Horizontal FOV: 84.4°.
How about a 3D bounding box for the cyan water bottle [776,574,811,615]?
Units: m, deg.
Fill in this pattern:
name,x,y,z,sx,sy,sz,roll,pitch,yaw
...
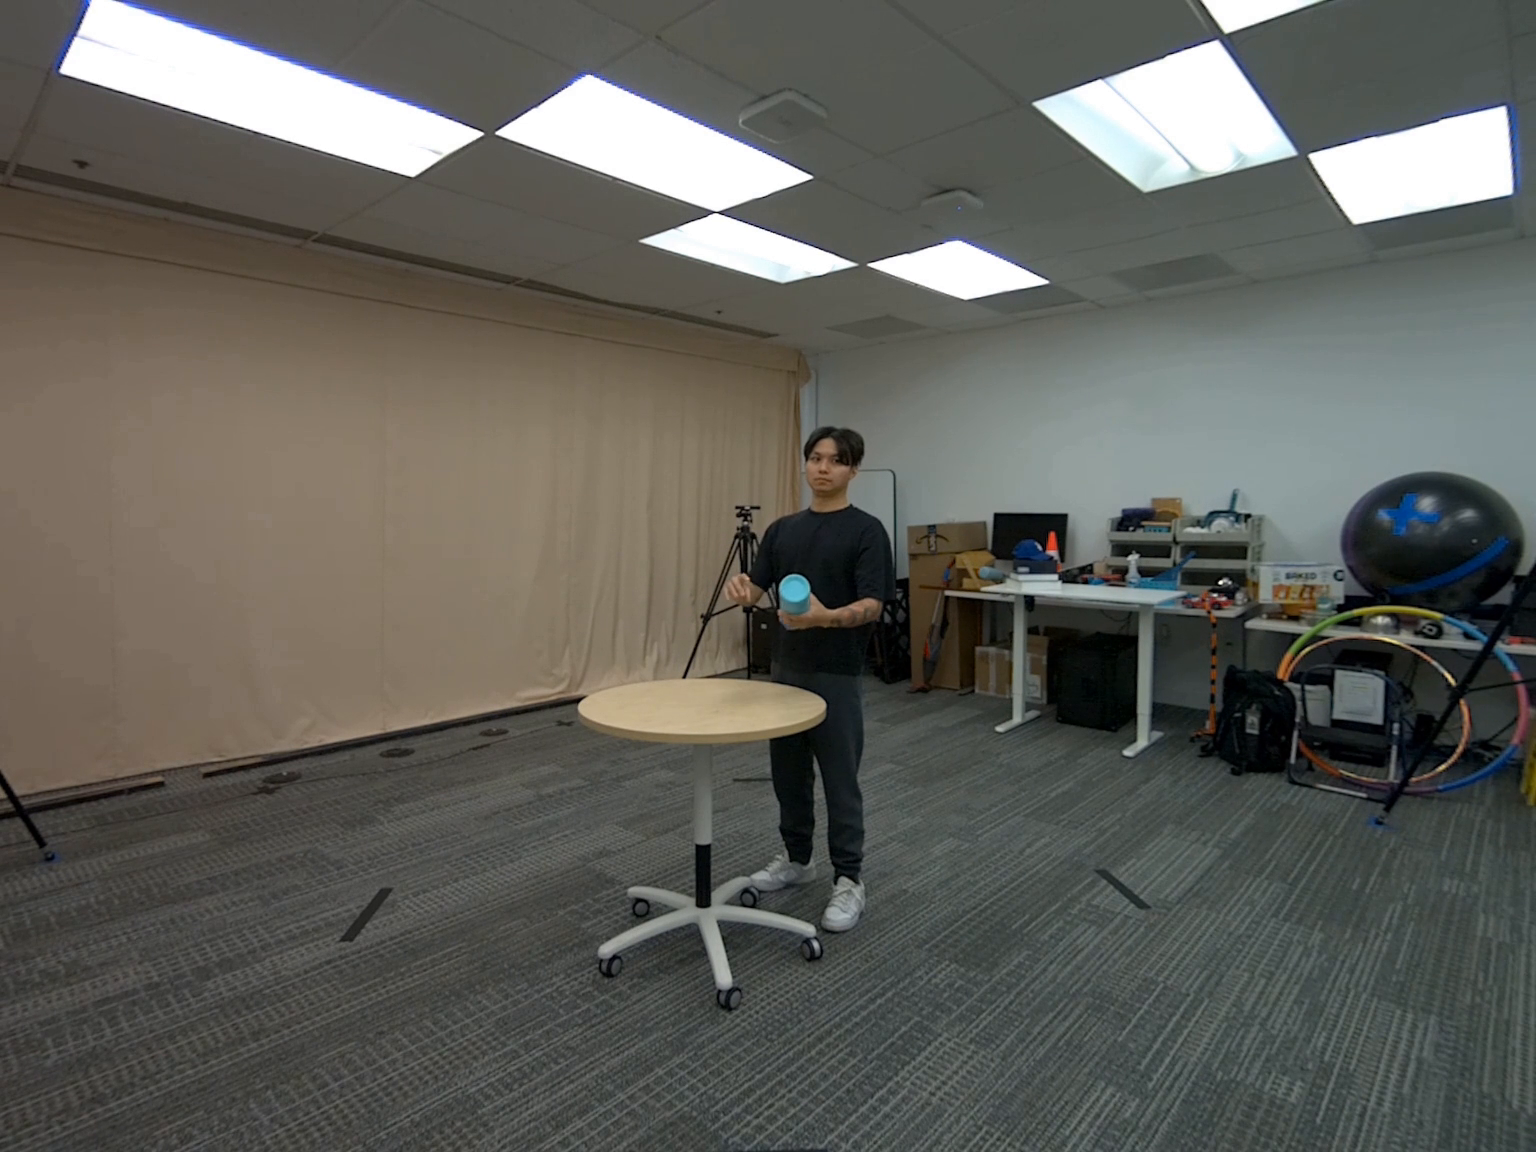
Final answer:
name,x,y,z,sx,sy,sz,roll,pitch,yaw
cyan water bottle,0.075,0.078,2.575,0.093,0.093,0.279,1,-20,2
